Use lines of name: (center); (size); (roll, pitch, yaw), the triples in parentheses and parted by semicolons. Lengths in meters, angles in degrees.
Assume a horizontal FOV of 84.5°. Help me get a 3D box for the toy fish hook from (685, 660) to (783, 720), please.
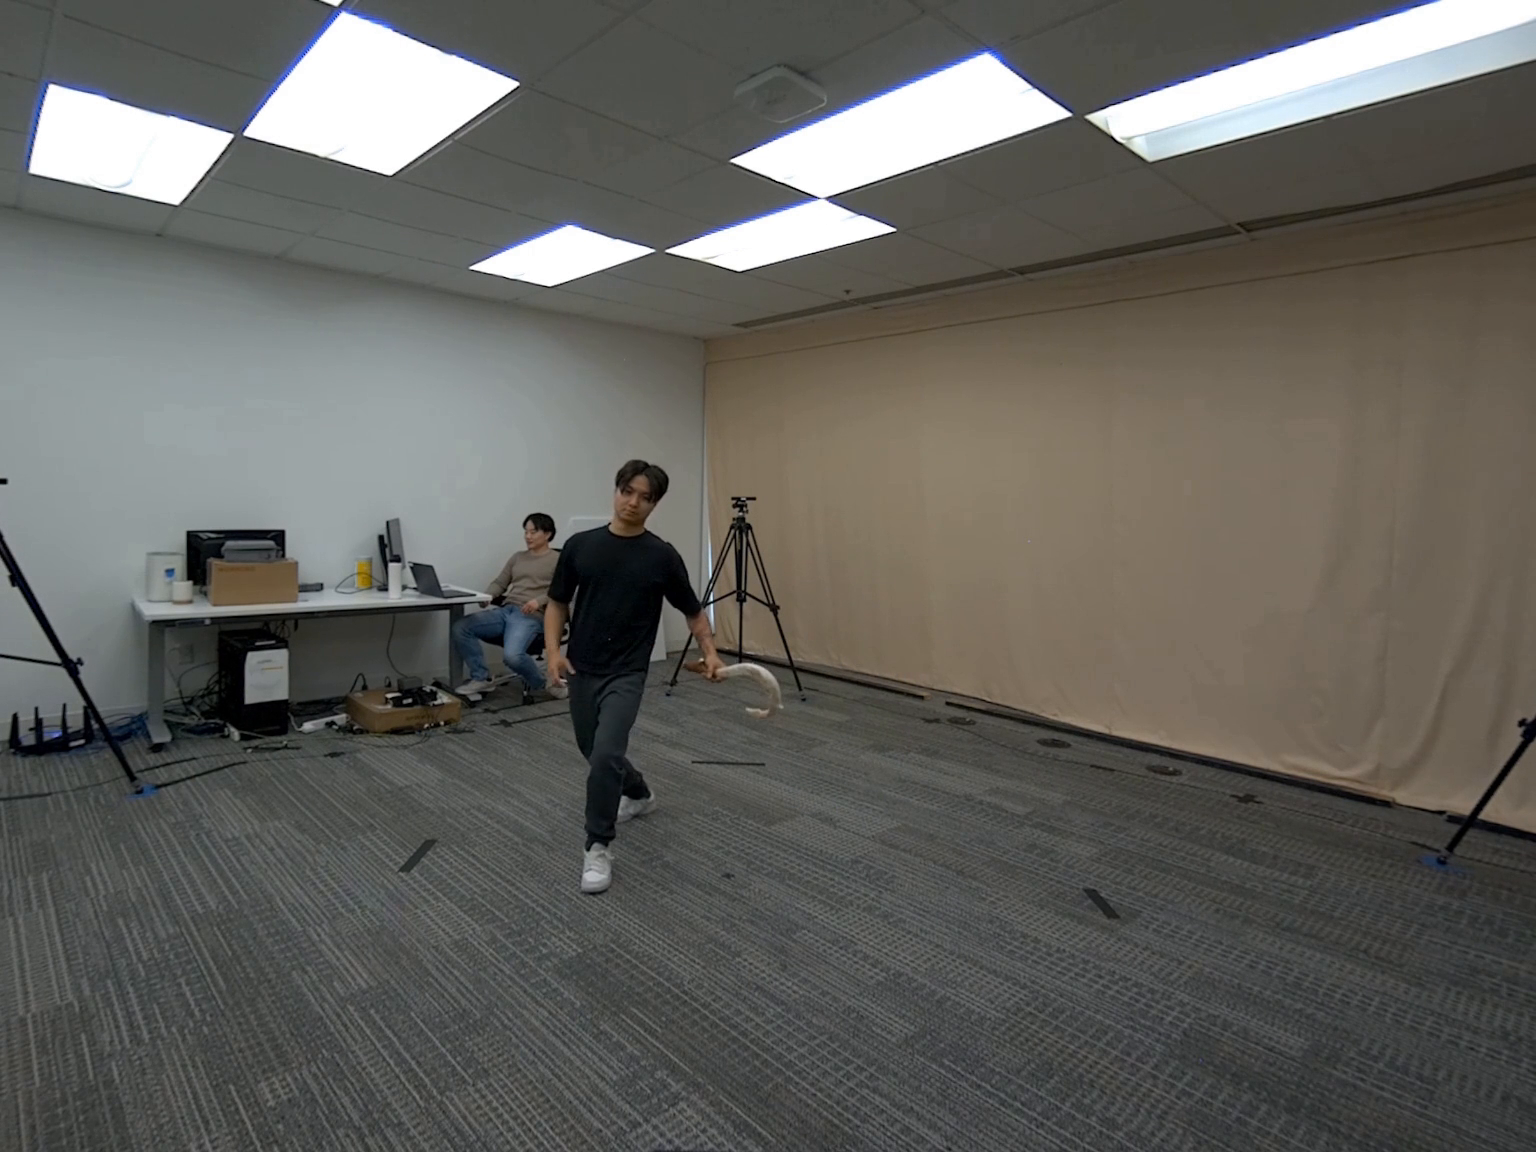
toy fish hook: (-0.166, 0.409, 3.172); (0.519, 0.222, 0.047); (4, 16, 45)
